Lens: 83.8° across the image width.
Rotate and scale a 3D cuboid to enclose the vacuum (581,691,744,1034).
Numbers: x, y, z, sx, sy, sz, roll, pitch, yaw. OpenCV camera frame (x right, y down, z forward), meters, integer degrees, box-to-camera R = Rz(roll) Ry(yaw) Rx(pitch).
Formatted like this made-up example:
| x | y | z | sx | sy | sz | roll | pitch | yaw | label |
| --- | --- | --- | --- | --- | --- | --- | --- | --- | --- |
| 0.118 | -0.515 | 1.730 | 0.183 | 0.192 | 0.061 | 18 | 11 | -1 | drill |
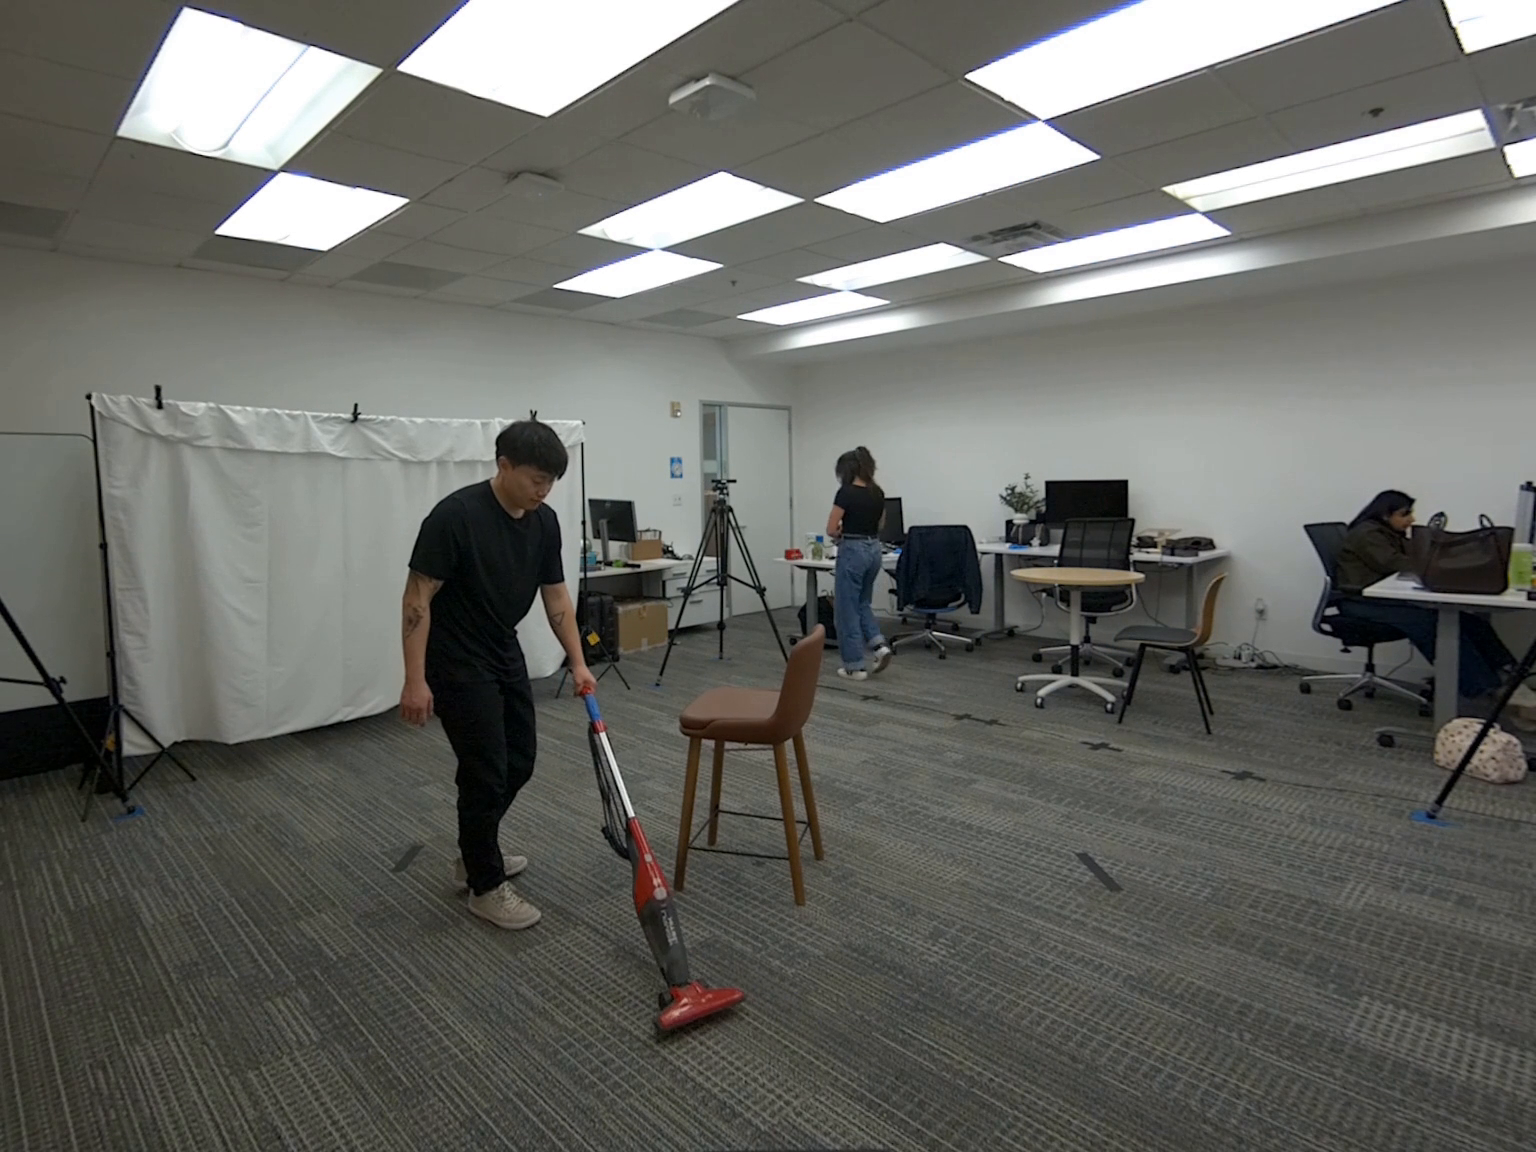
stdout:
| x | y | z | sx | sy | sz | roll | pitch | yaw | label |
| --- | --- | --- | --- | --- | --- | --- | --- | --- | --- |
| -0.410 | 0.747 | 2.549 | 0.246 | 0.142 | 1.087 | -5 | 48 | -31 | vacuum |
